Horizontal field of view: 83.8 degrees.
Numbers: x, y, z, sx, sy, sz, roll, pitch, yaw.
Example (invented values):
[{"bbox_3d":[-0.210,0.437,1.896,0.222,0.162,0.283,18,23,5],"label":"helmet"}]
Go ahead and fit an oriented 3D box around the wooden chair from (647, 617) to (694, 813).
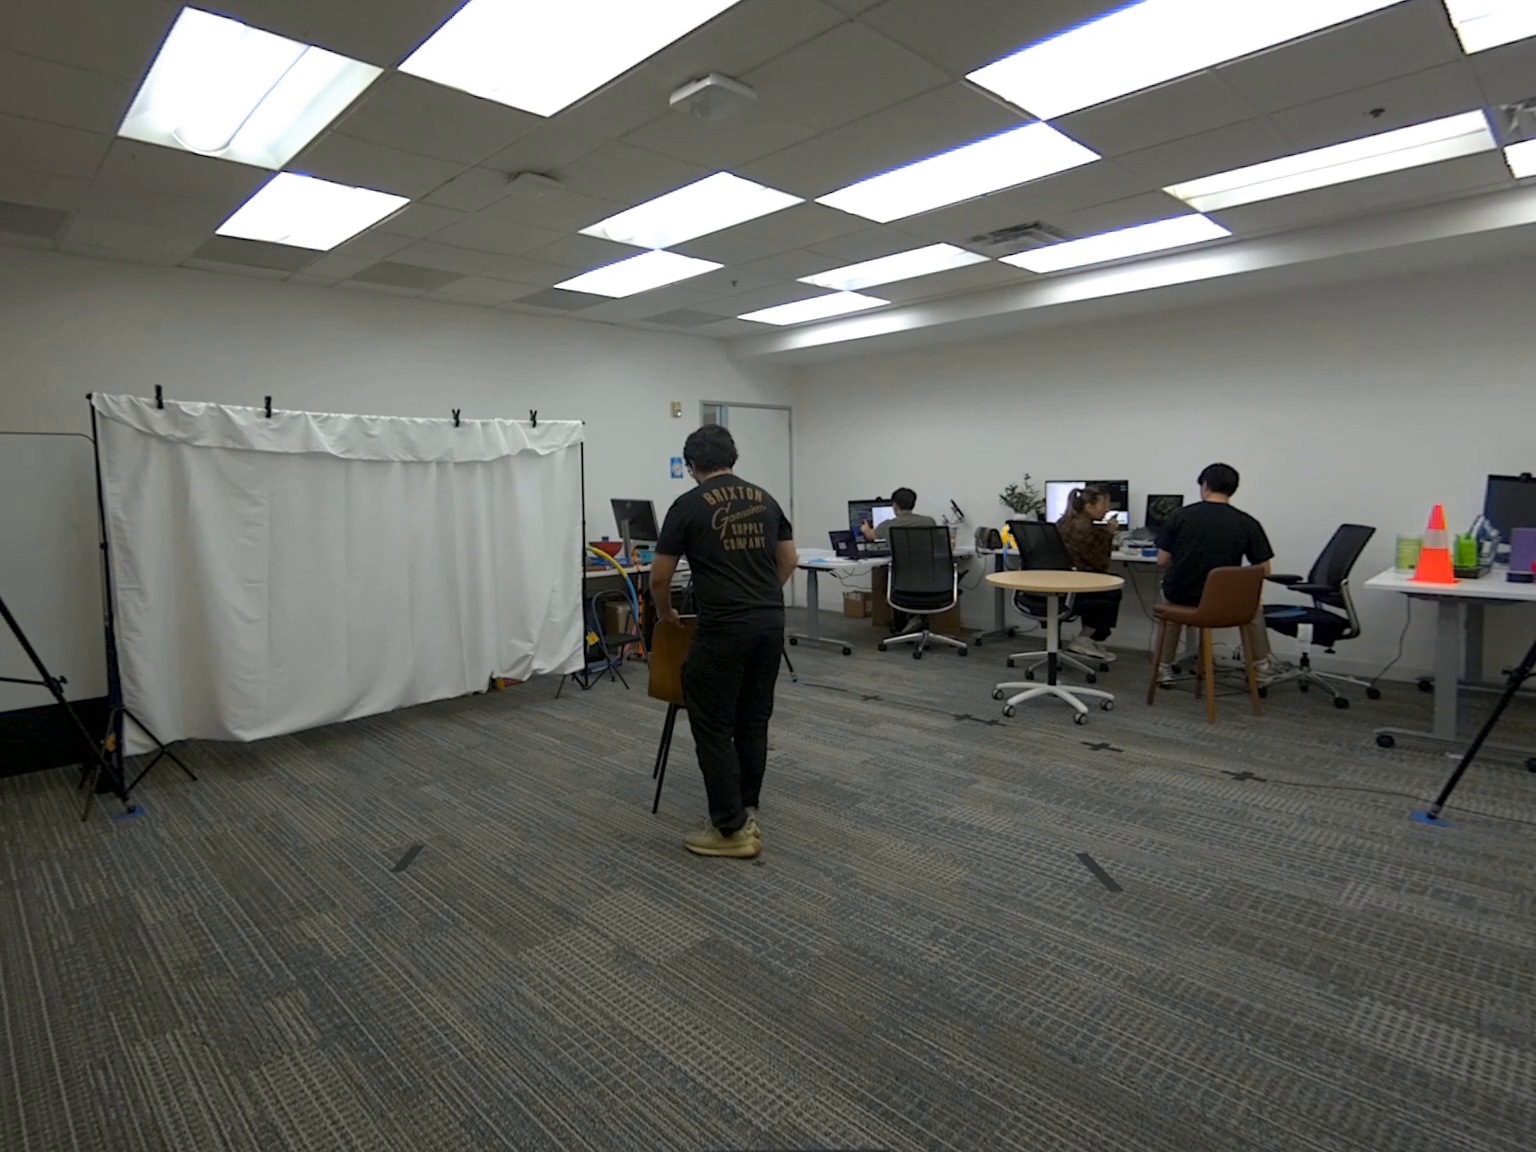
[{"bbox_3d":[-0.301,0.545,3.812,0.476,0.871,0.530,-2,8,-6],"label":"wooden chair"}]
